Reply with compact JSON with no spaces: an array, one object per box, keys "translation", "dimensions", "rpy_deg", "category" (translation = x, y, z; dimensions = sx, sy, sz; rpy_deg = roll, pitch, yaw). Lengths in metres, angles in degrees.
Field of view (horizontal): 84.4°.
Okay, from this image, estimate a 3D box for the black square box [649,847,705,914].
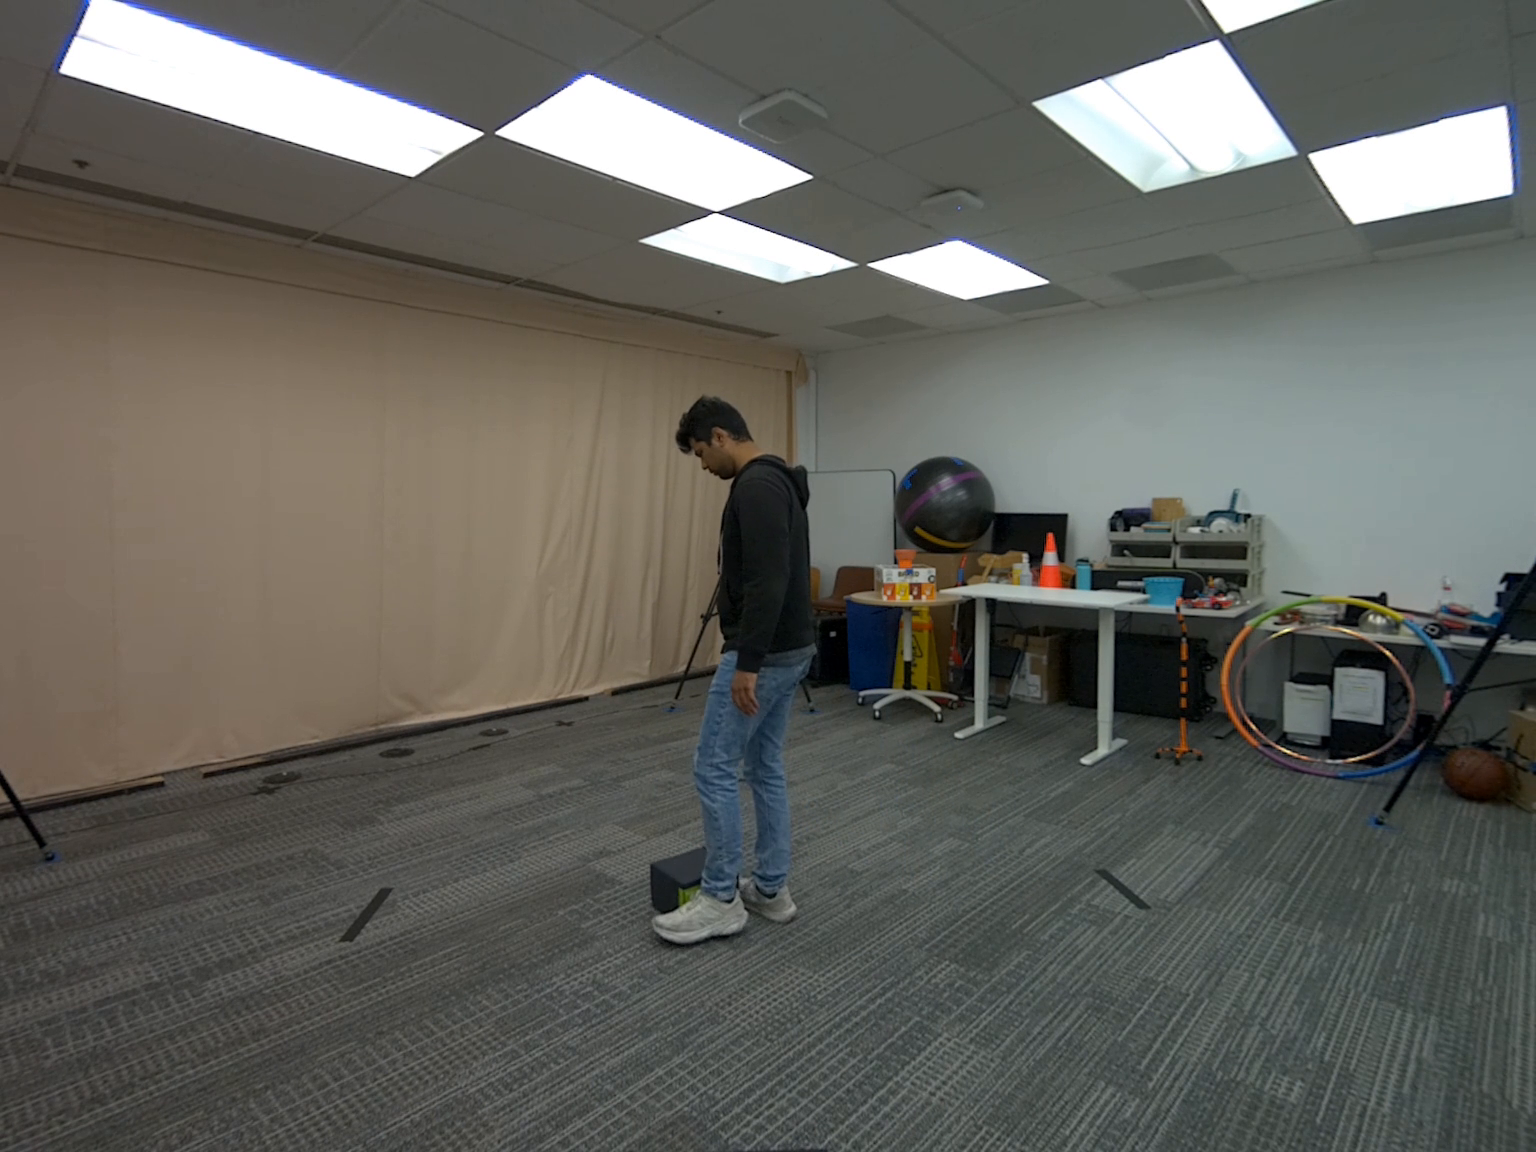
[{"translation":[-0.252,1.068,2.905],"dimensions":[0.221,0.155,0.224],"rpy_deg":[-4,5,-37],"category":"black square box"}]
